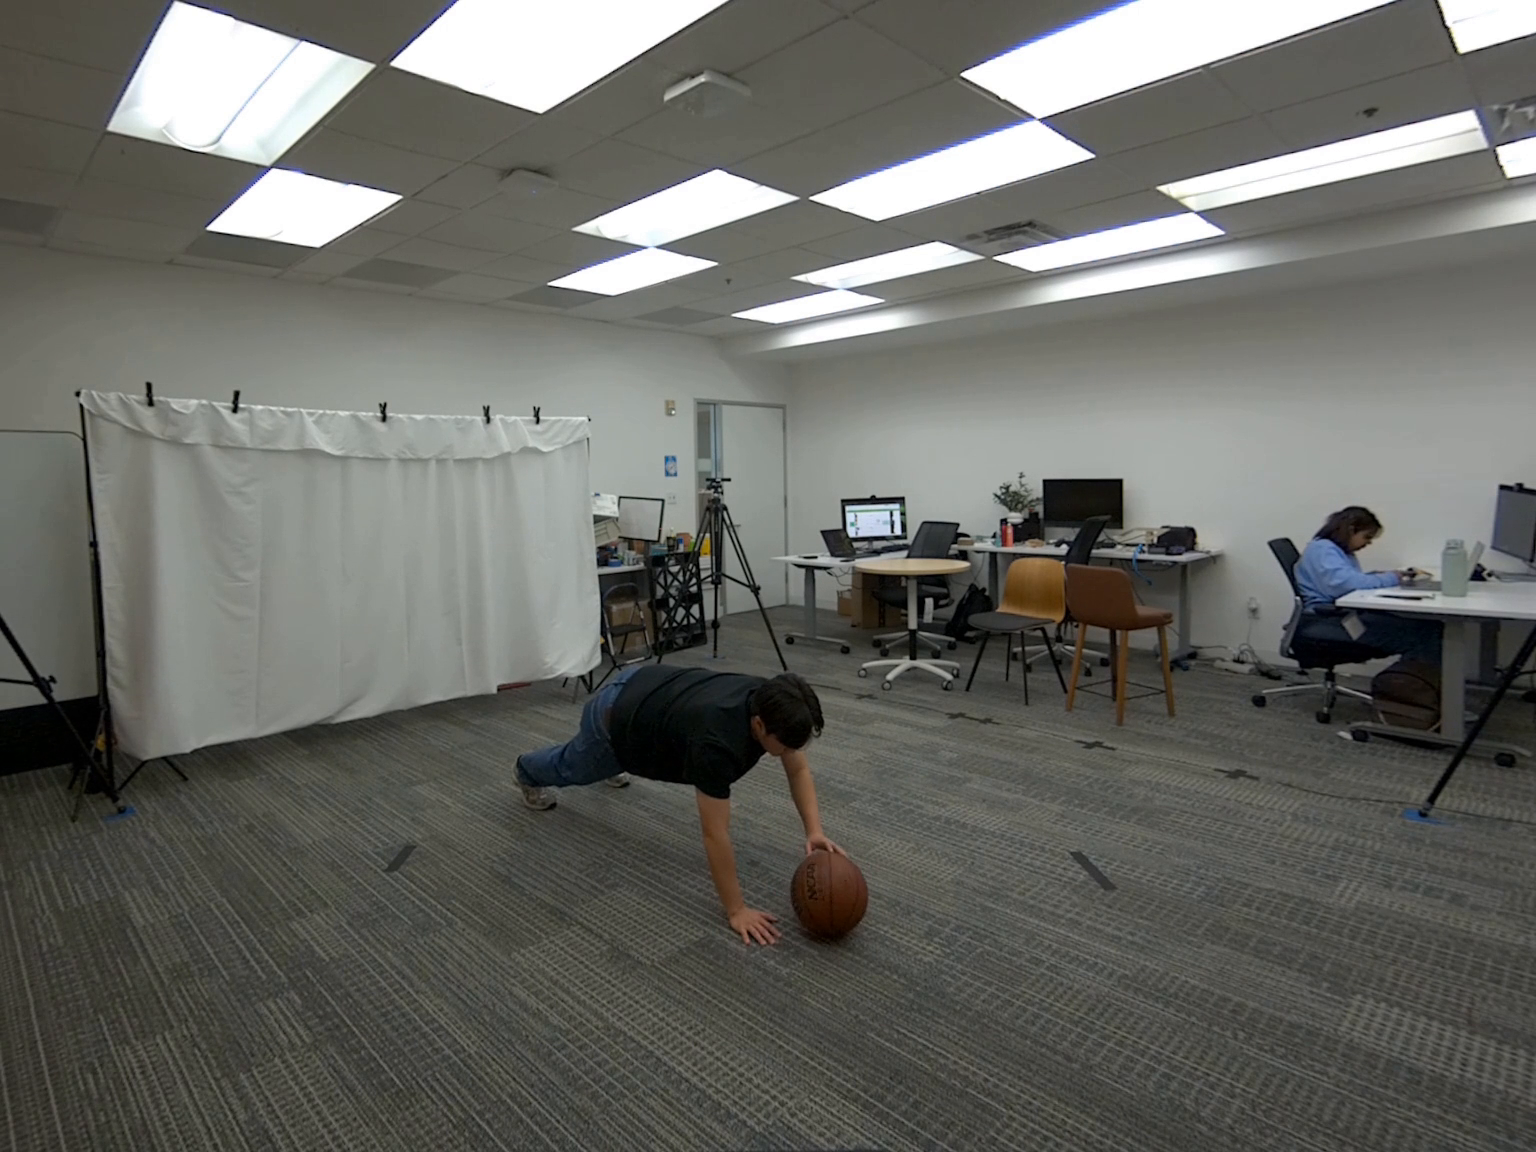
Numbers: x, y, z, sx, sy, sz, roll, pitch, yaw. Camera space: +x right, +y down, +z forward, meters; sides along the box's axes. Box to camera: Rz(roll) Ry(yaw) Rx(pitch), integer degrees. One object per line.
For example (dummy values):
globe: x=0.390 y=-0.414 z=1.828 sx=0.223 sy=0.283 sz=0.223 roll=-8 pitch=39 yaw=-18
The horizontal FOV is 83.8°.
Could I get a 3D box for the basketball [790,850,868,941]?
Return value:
basketball: x=0.193 y=0.971 z=2.624 sx=0.236 sy=0.235 sz=0.237 roll=-1 pitch=5 yaw=-2
